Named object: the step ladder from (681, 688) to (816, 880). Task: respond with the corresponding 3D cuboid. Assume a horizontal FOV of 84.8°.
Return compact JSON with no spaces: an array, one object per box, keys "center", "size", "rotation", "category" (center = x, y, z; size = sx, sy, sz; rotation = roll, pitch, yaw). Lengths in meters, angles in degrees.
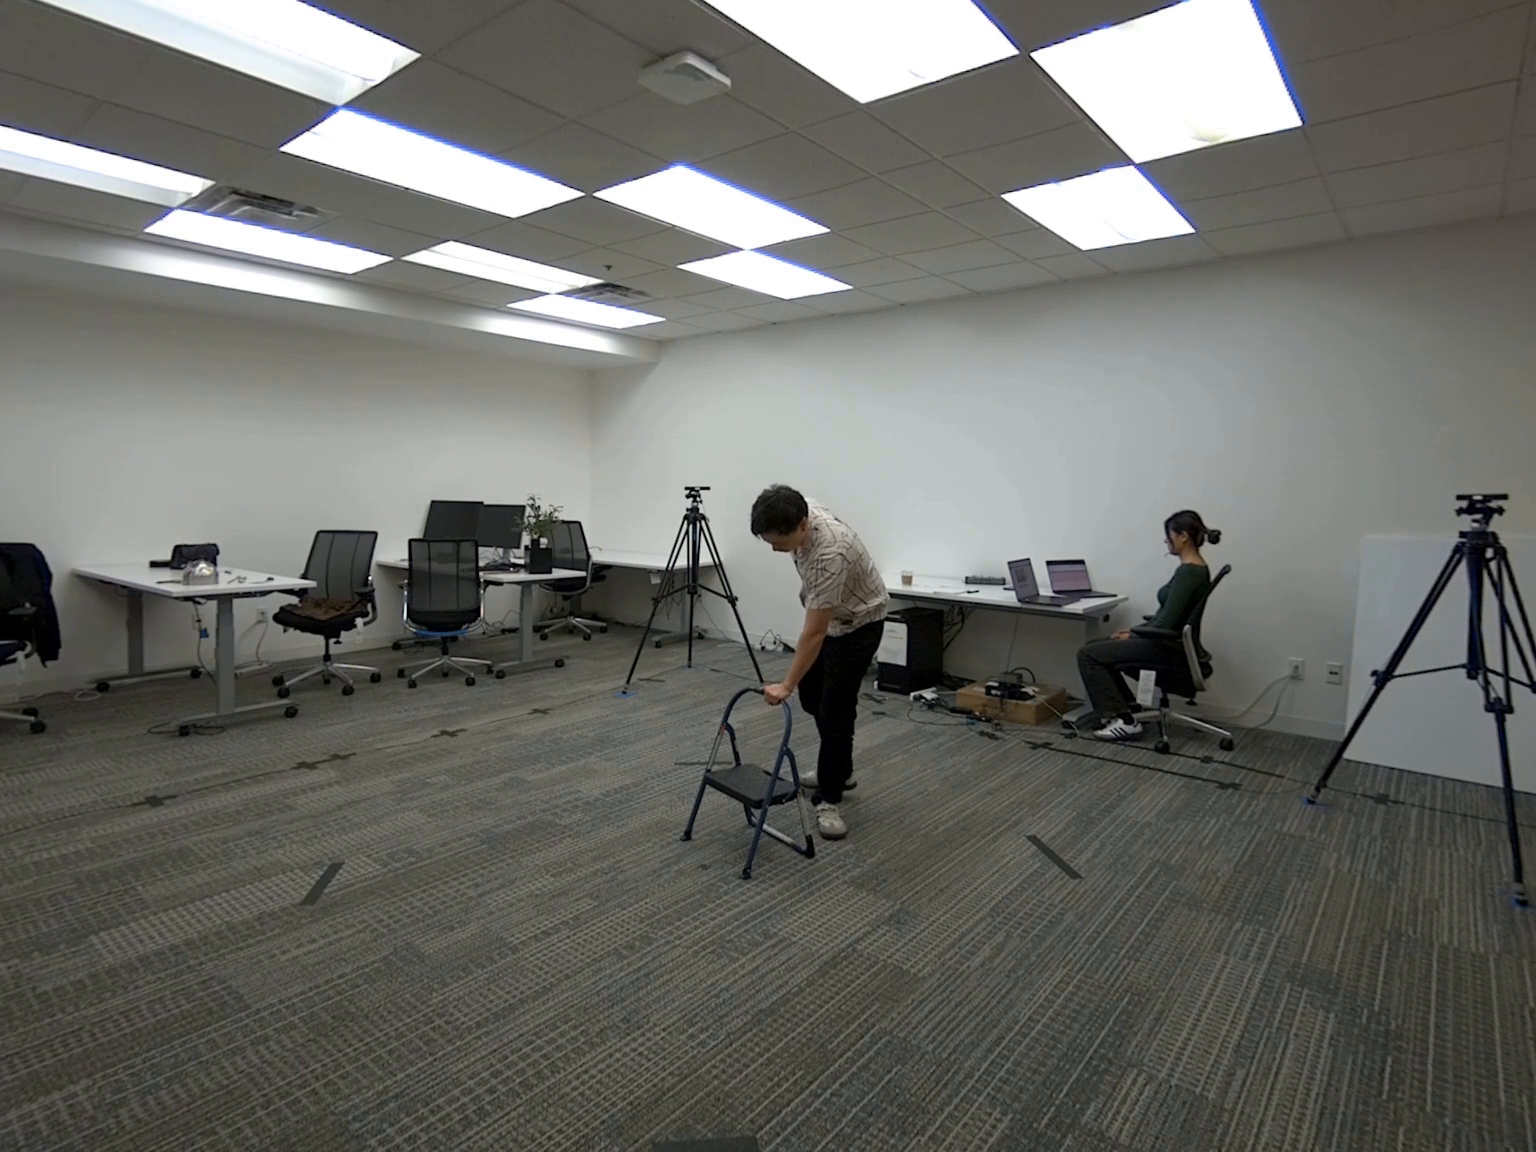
[{"center":[-0.082,0.744,3.271],"size":[0.339,0.605,0.445],"rotation":[-1,4,-37],"category":"step ladder"}]
